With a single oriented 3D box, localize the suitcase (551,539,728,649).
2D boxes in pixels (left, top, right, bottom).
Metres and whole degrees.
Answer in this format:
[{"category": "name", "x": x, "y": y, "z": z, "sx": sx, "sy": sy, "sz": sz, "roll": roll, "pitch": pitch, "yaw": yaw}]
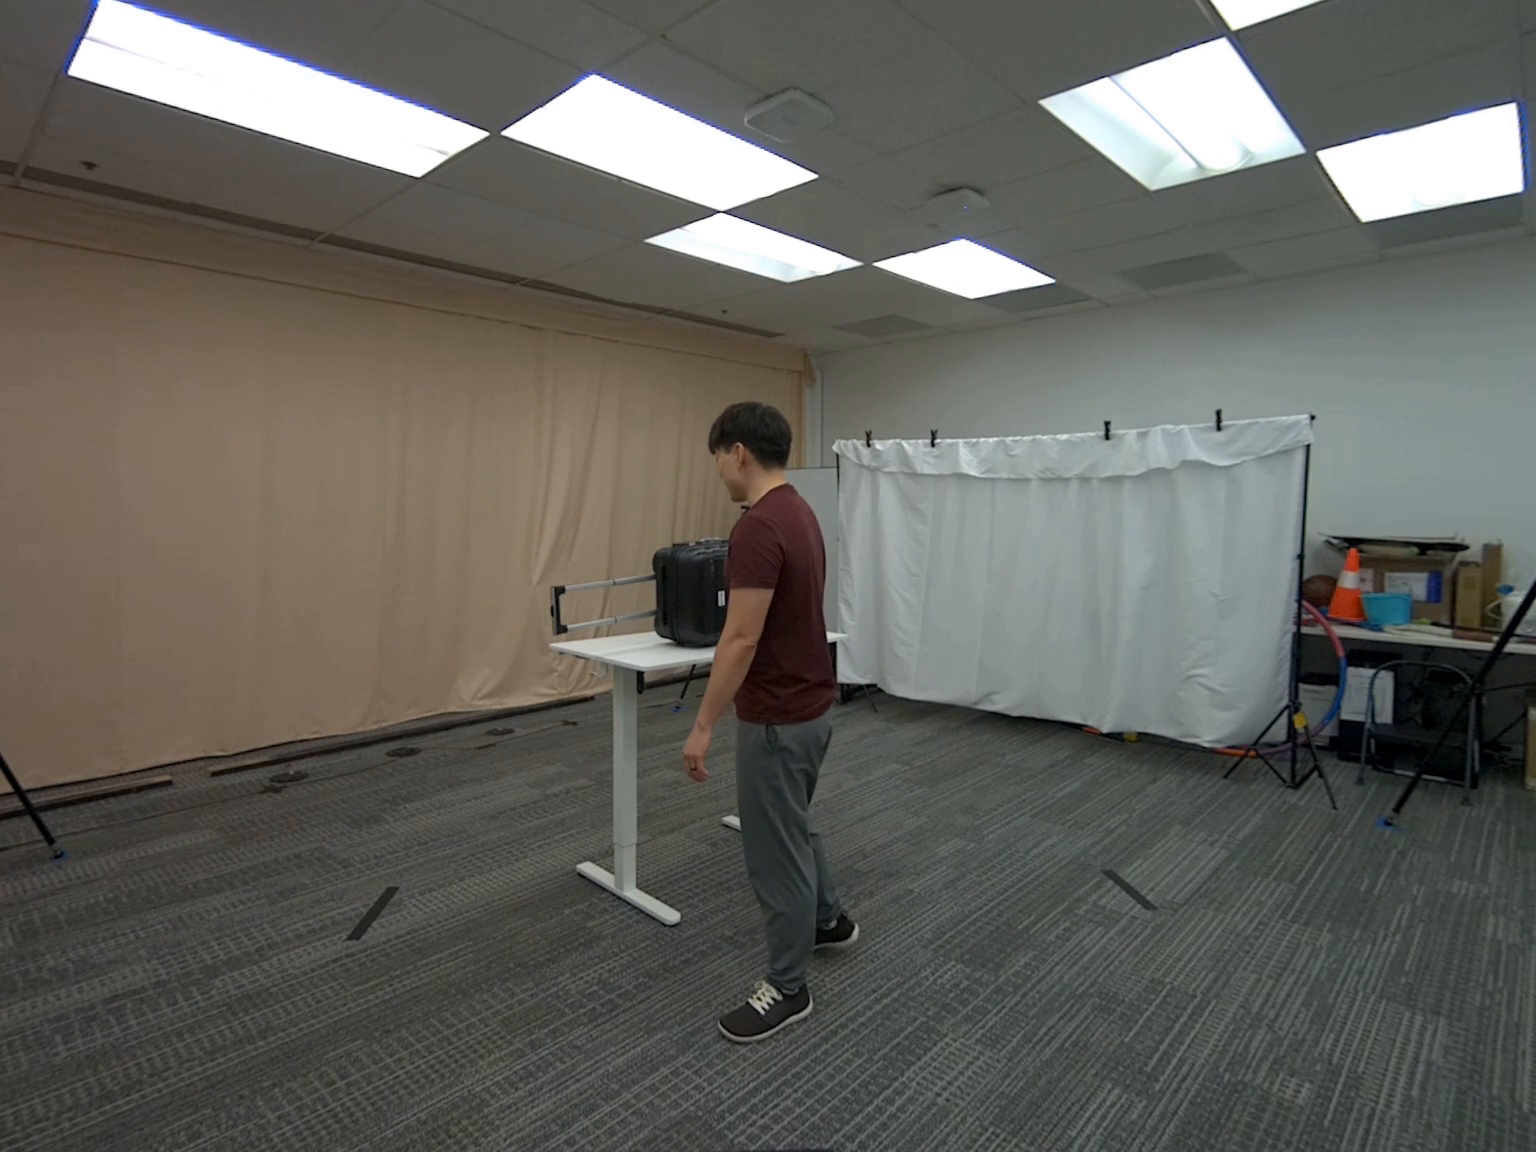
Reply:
[{"category": "suitcase", "x": -0.304, "y": 0.075, "z": 3.041, "sx": 0.265, "sy": 0.383, "sz": 0.950, "roll": 4, "pitch": 6, "yaw": 38}]
